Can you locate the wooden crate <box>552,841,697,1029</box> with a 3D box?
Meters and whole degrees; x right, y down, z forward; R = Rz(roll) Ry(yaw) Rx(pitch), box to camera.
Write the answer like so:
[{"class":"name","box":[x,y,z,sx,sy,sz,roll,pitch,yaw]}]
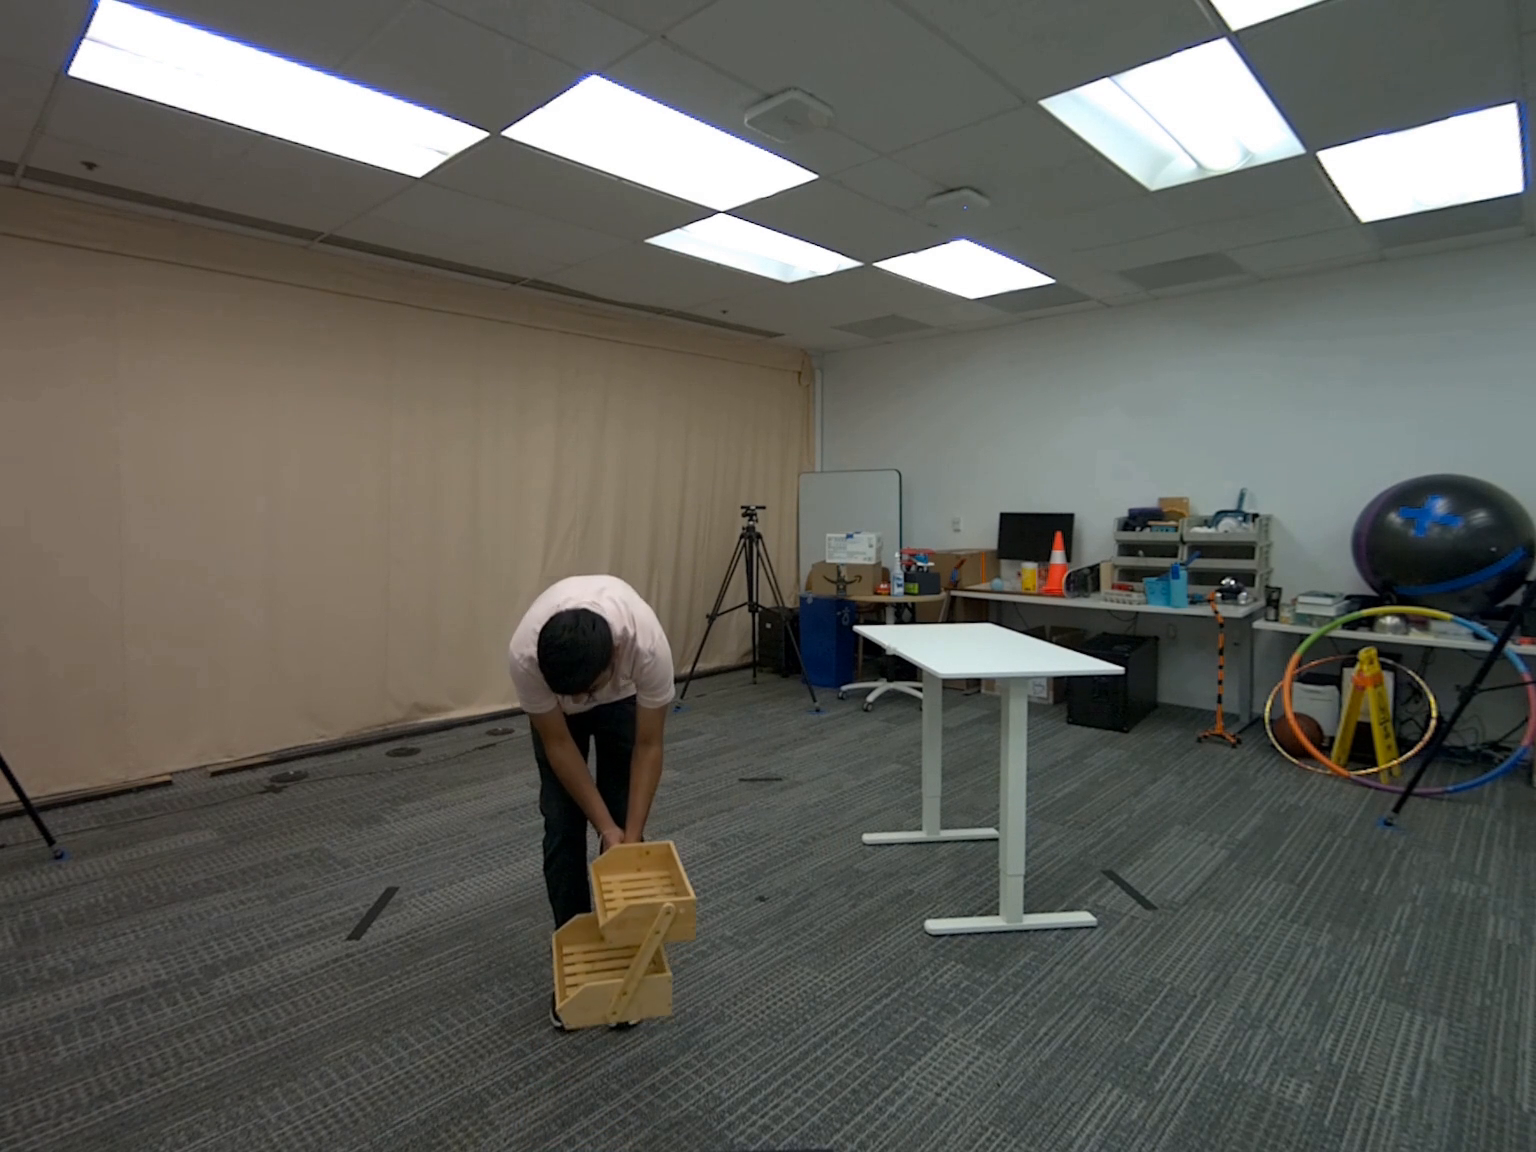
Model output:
[{"class":"wooden crate","box":[-0.344,0.812,1.944,0.297,0.272,0.330,-2,6,-16]}]
